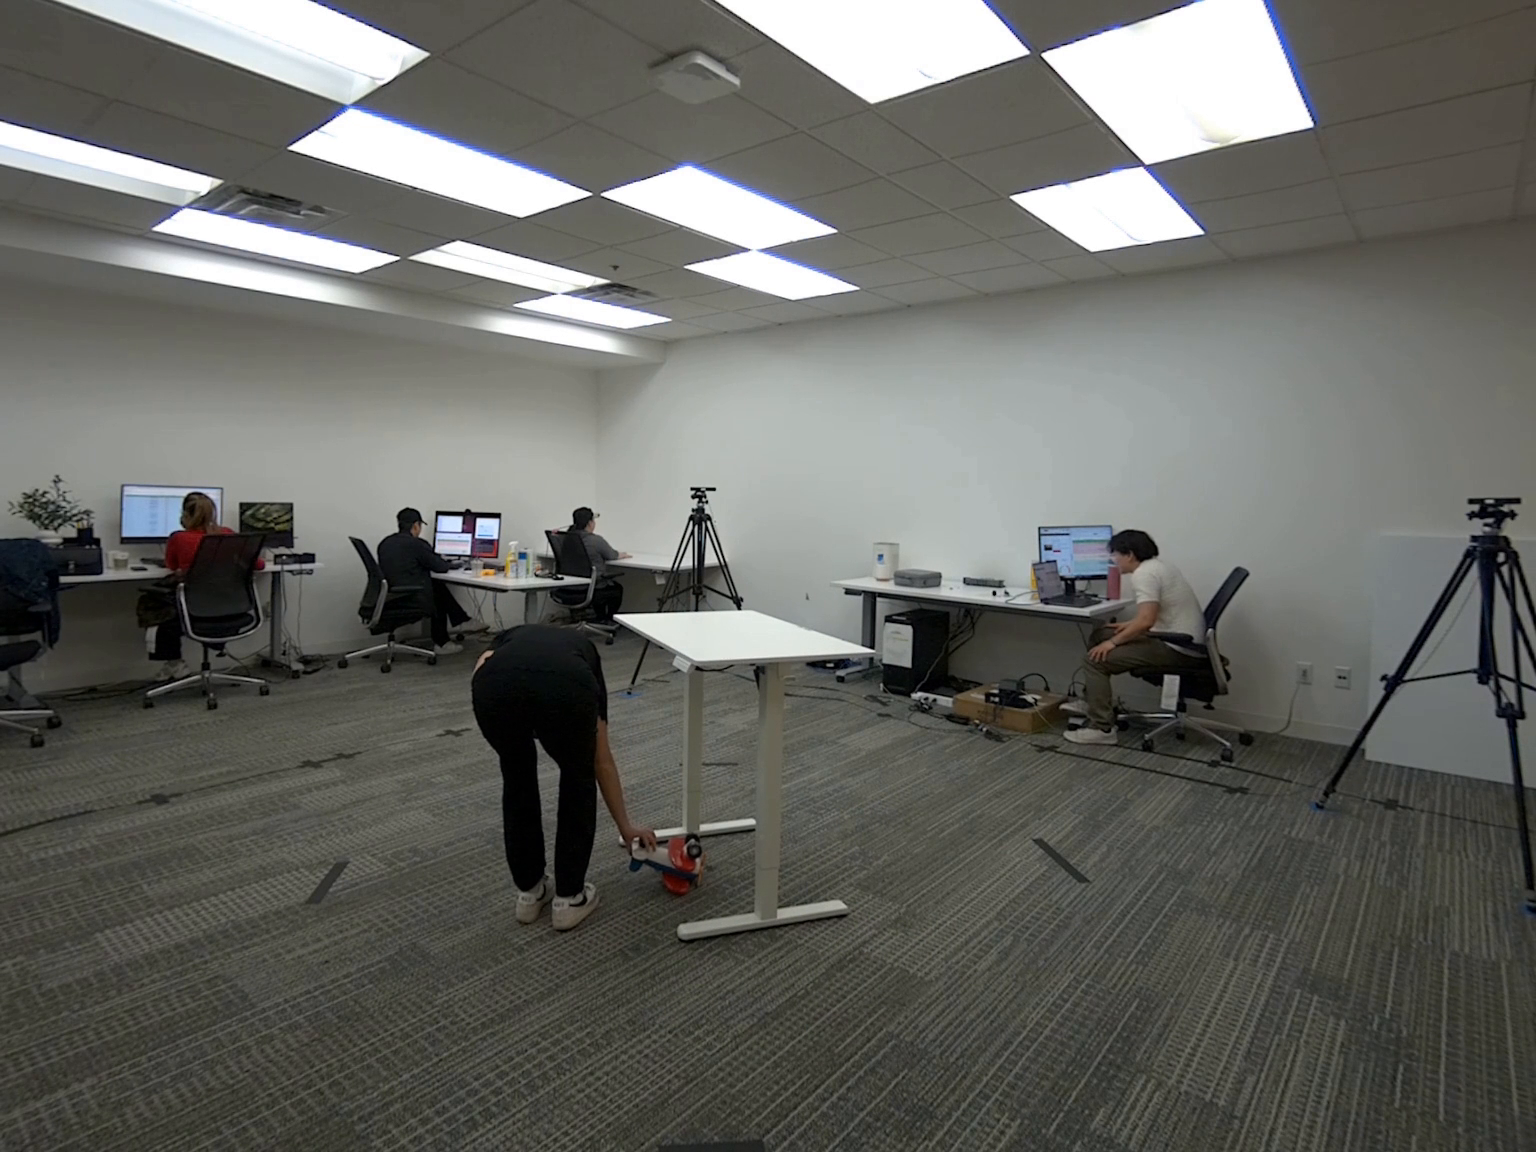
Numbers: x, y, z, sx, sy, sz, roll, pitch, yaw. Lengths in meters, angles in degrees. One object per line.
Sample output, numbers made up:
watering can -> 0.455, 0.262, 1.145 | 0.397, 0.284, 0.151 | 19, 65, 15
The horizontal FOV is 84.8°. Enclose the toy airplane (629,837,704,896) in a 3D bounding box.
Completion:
toy airplane -> -0.361, 0.993, 3.014 | 0.265, 0.156, 0.246 | 5, 2, 20
